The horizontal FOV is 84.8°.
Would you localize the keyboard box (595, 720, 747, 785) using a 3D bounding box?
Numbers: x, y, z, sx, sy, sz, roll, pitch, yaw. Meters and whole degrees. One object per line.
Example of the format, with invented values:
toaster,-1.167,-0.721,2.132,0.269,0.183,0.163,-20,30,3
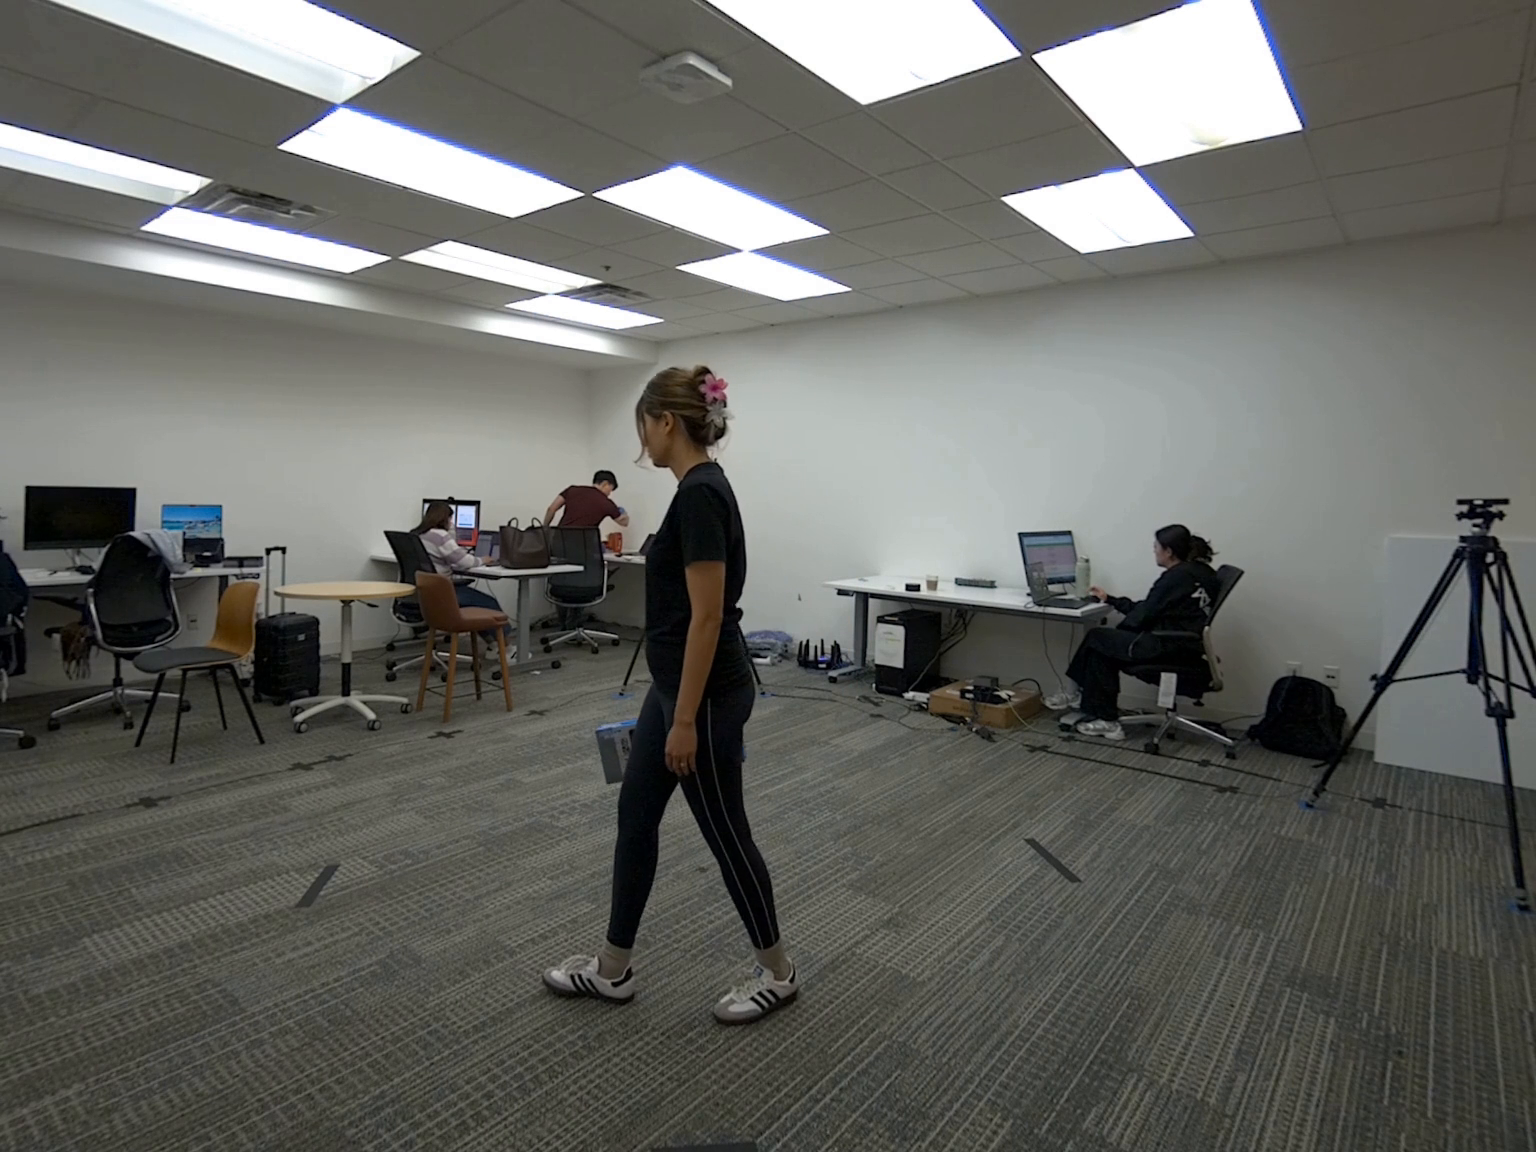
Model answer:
keyboard box,-0.311,0.503,2.585,0.440,0.176,0.059,-12,0,8
